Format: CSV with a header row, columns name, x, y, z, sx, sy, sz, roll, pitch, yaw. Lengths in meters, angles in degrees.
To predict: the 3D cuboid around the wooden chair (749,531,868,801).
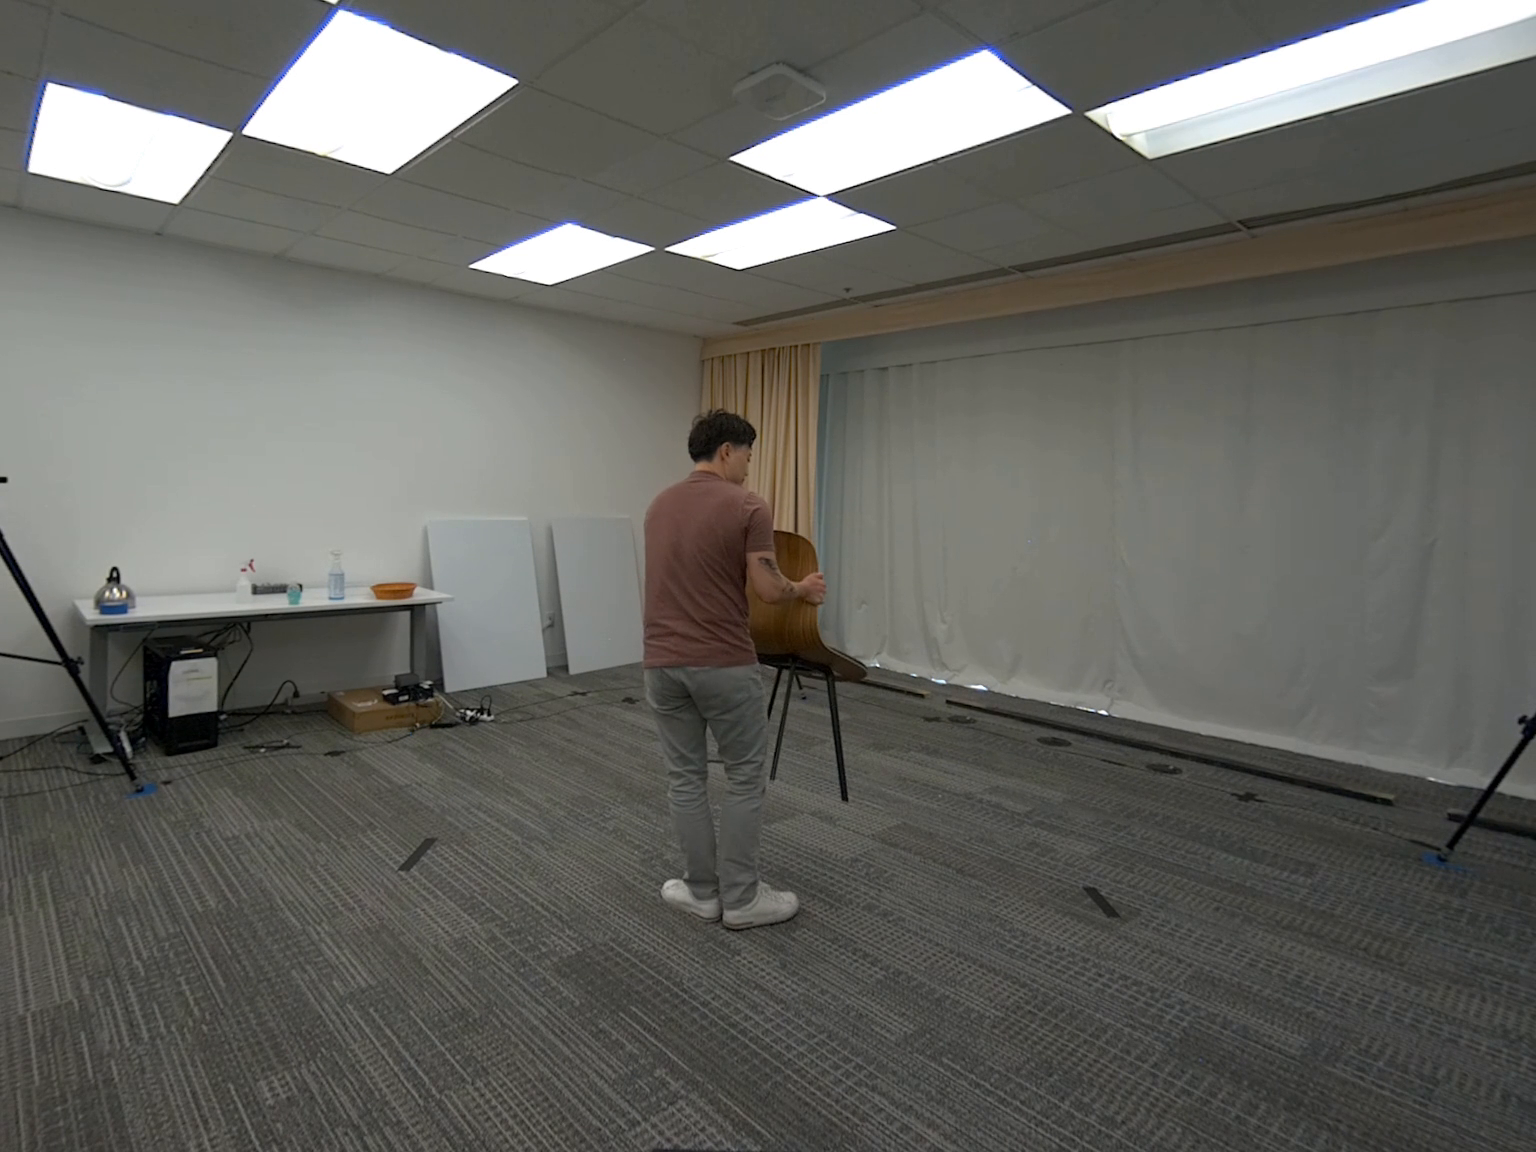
name,x,y,z,sx,sy,sz,roll,pitch,yaw
wooden chair,0.068,0.326,3.090,0.489,0.884,0.507,-1,-17,40
